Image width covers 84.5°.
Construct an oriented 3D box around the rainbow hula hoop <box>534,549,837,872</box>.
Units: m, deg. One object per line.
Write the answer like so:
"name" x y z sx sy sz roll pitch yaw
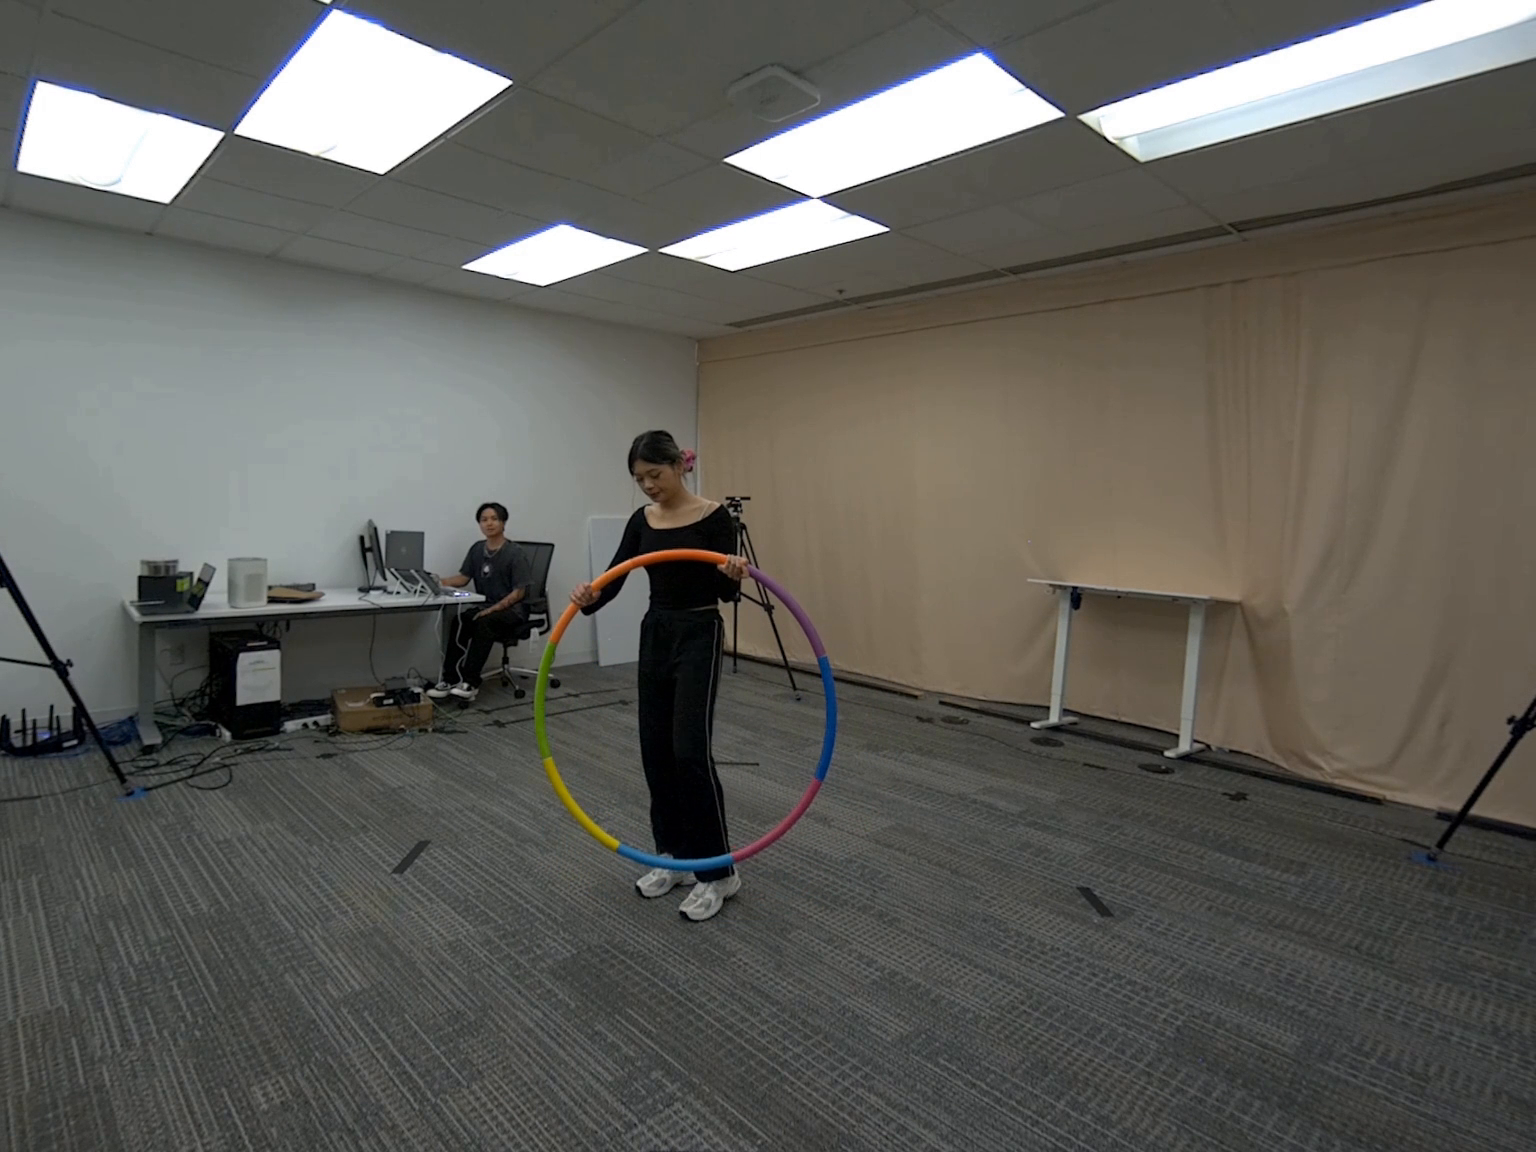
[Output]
"rainbow hula hoop" -0.278 0.422 2.649 0.987 0.982 0.035 2 -6 11
